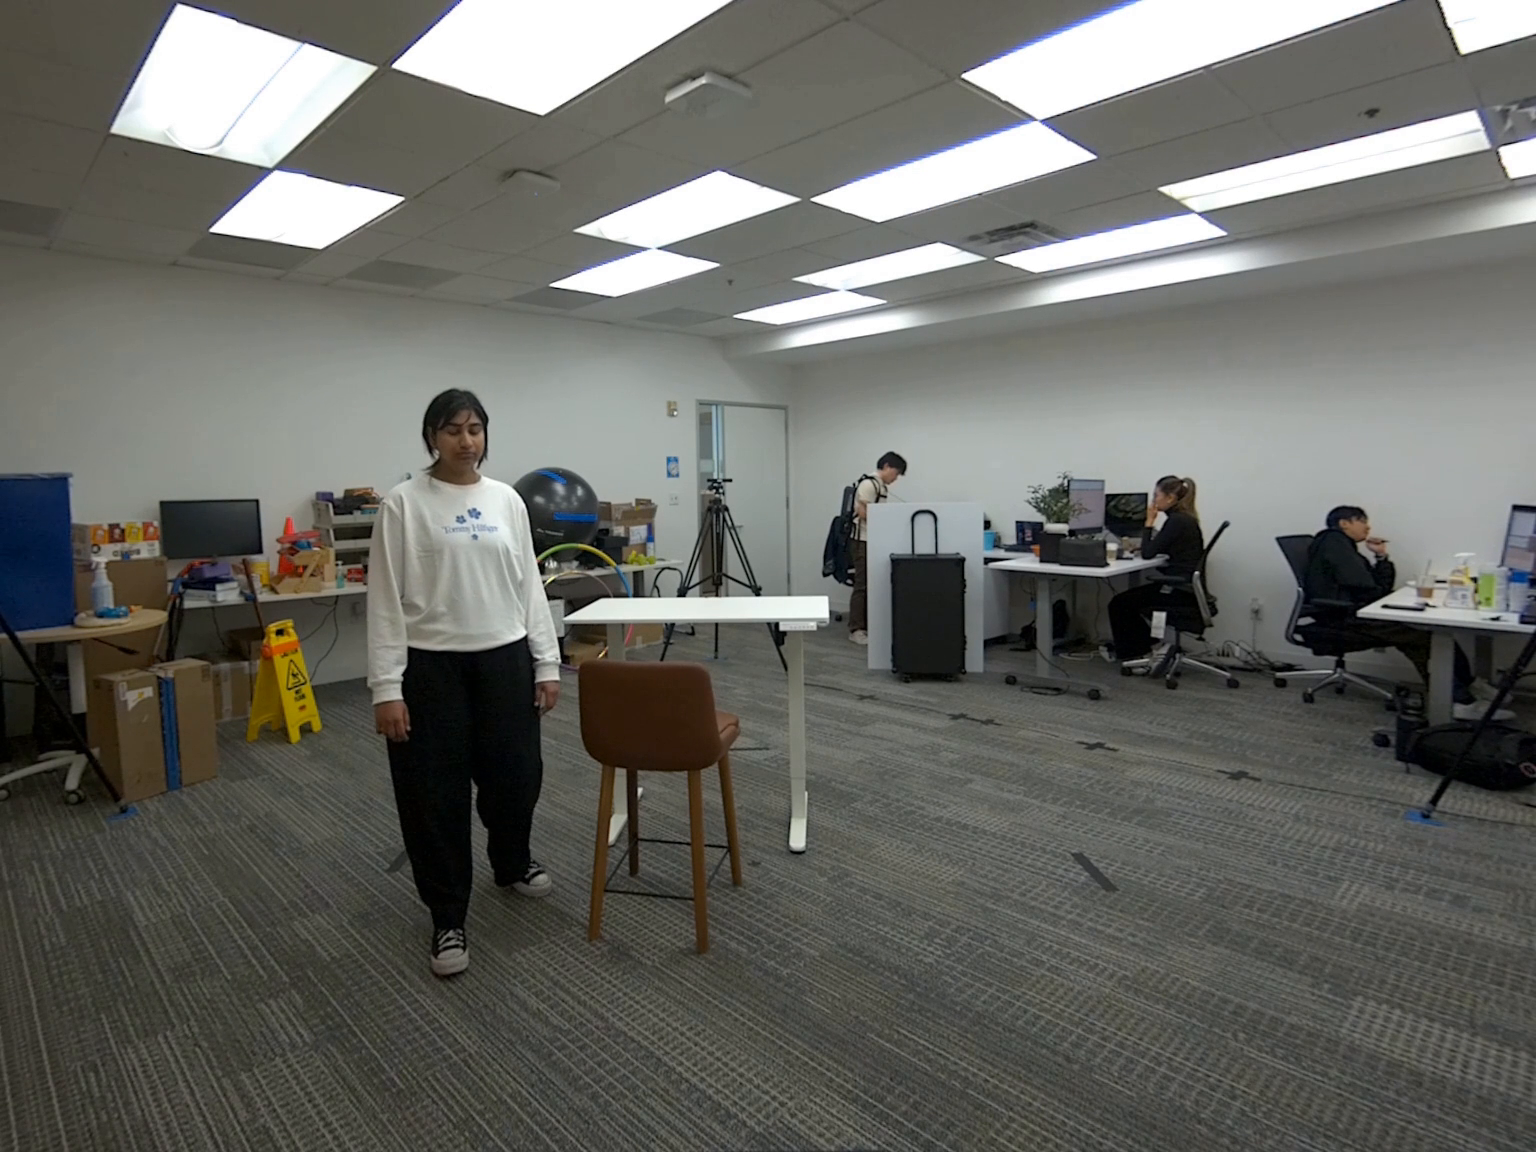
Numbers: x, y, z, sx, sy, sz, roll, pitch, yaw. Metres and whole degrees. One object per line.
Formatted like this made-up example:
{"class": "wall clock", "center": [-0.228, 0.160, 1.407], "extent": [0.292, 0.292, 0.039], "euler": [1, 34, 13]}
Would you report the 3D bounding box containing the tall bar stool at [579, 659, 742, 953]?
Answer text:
{"class": "tall bar stool", "center": [-0.333, 0.657, 2.753], "extent": [0.462, 0.885, 0.464], "euler": [0, 6, 13]}
